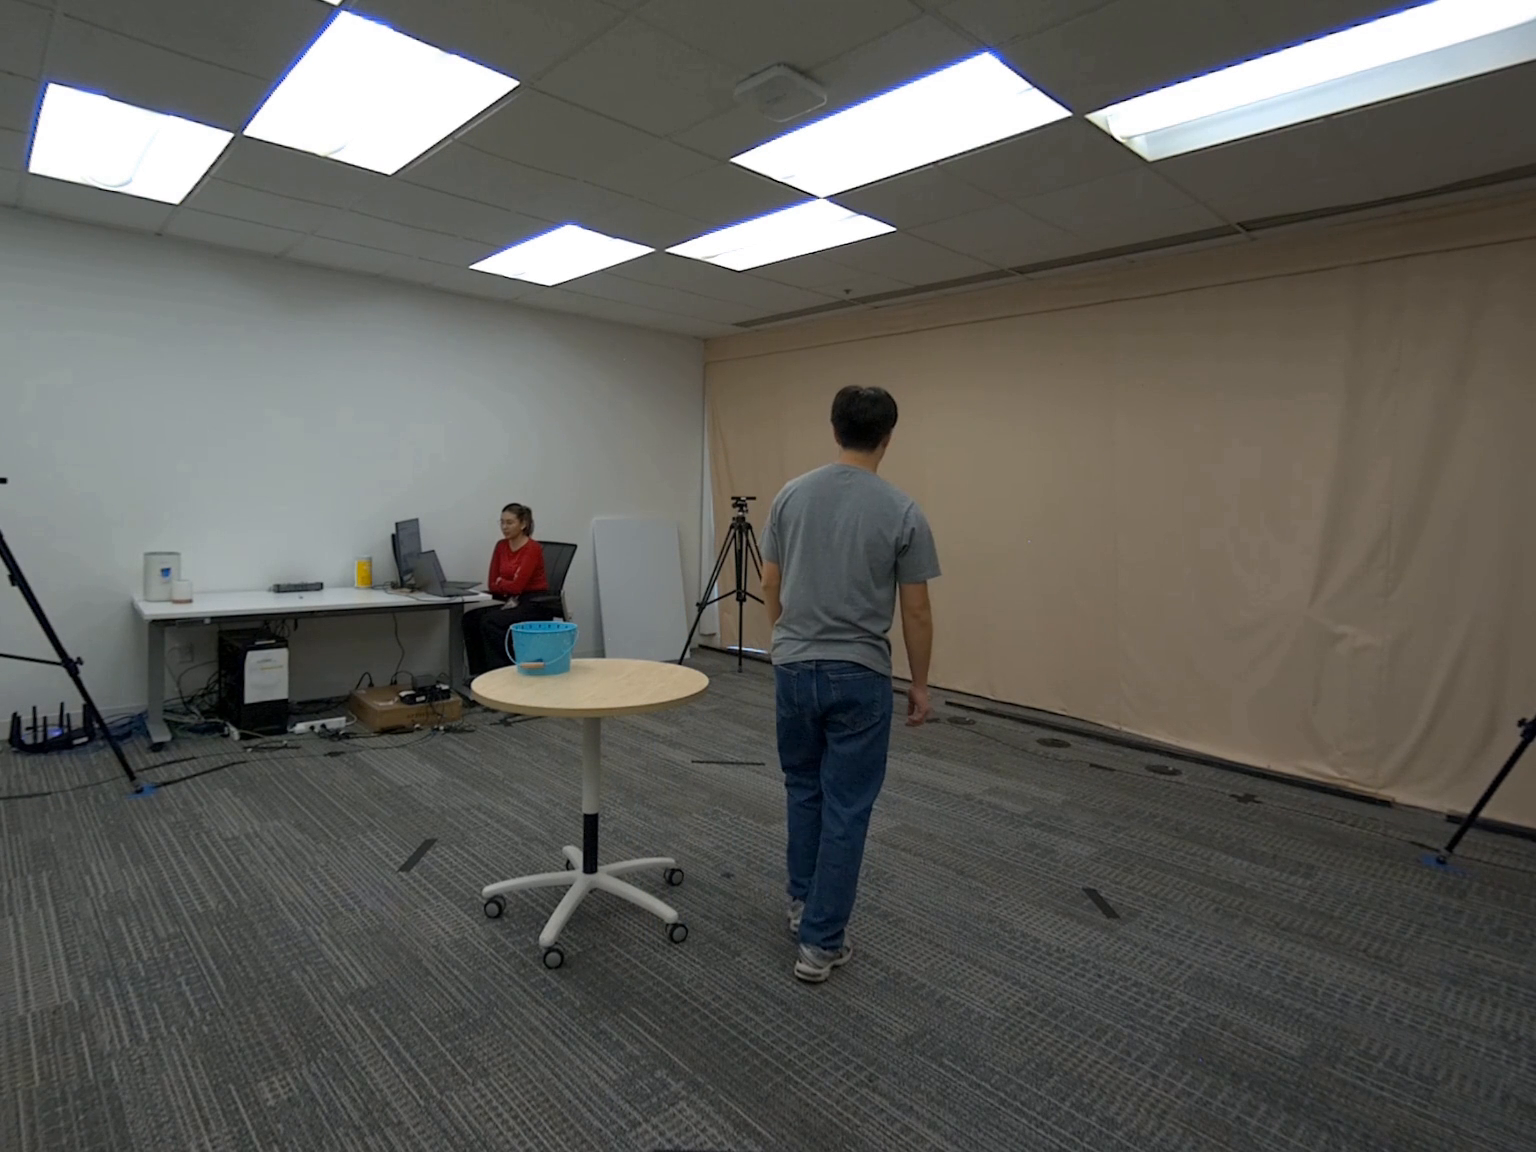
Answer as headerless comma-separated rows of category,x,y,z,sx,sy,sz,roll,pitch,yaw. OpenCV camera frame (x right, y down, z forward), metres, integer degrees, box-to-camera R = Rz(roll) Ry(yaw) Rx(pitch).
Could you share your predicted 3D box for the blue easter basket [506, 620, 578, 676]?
blue easter basket,-0.802,0.256,2.911,0.243,0.155,0.244,0,4,-1
